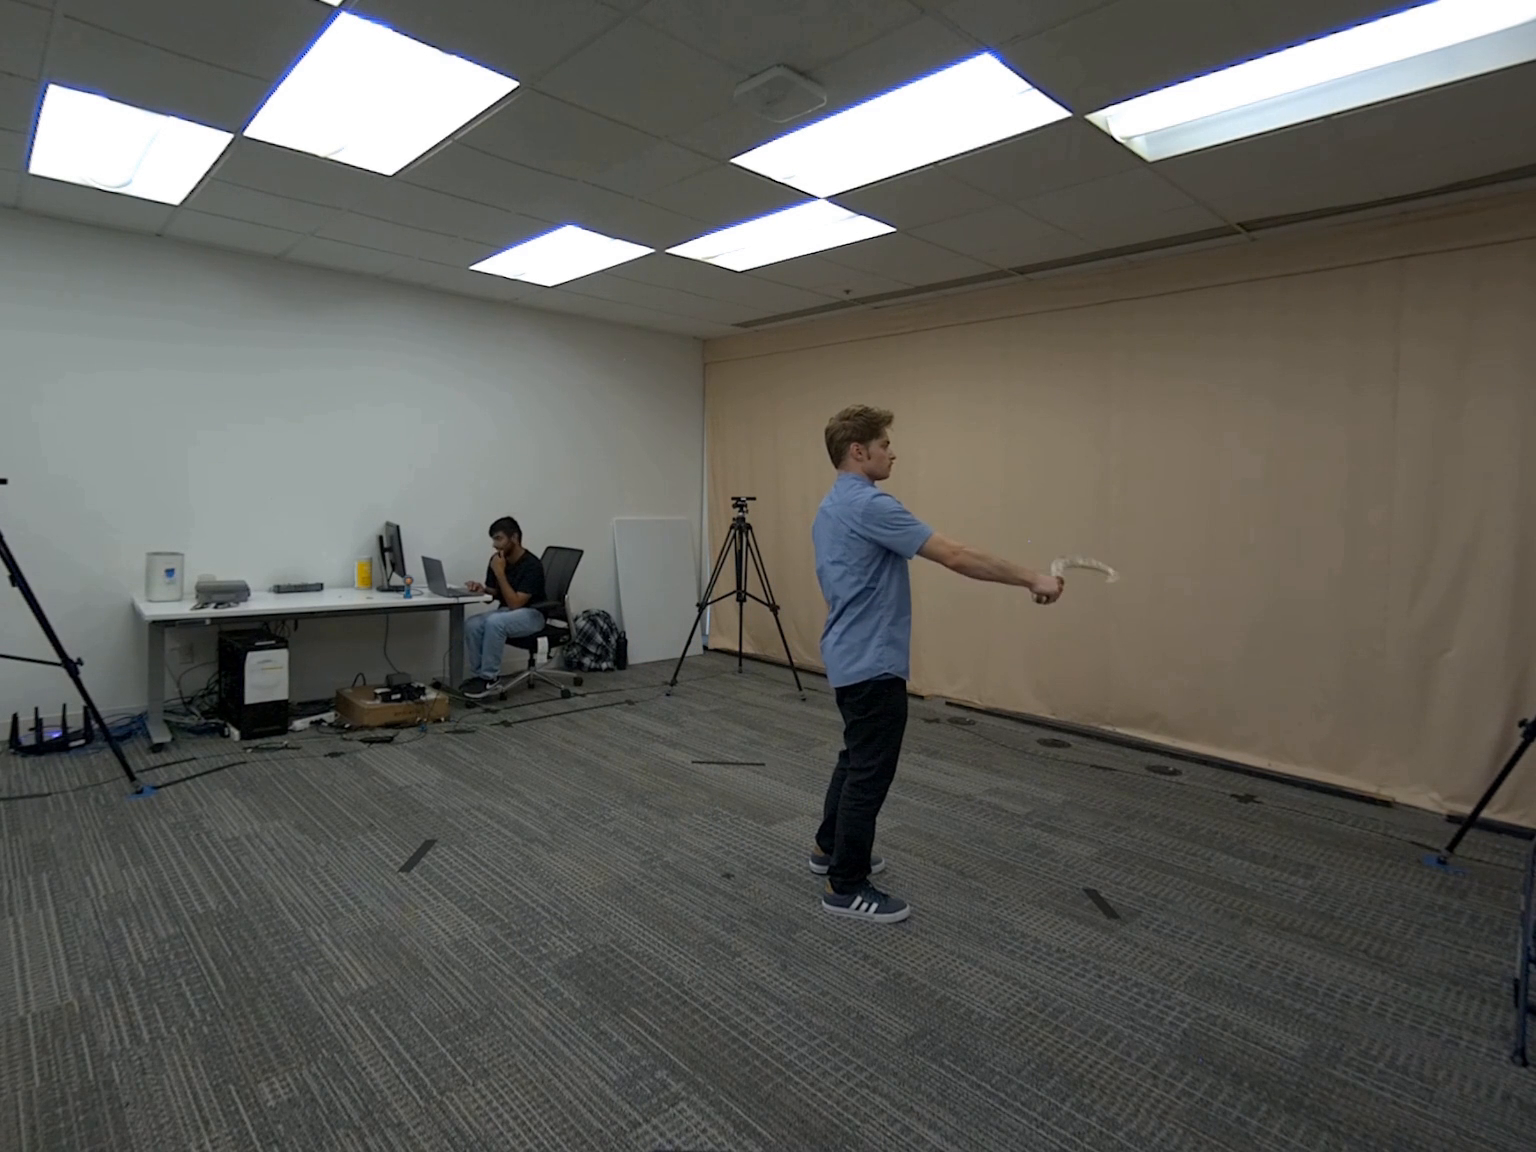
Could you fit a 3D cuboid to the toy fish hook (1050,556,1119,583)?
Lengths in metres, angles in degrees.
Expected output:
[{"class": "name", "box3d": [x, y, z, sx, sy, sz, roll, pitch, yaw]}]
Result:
[{"class": "toy fish hook", "box3d": [0.994, 0.011, 2.759, 0.230, 0.047, 0.501, 11, 23, 30]}]
